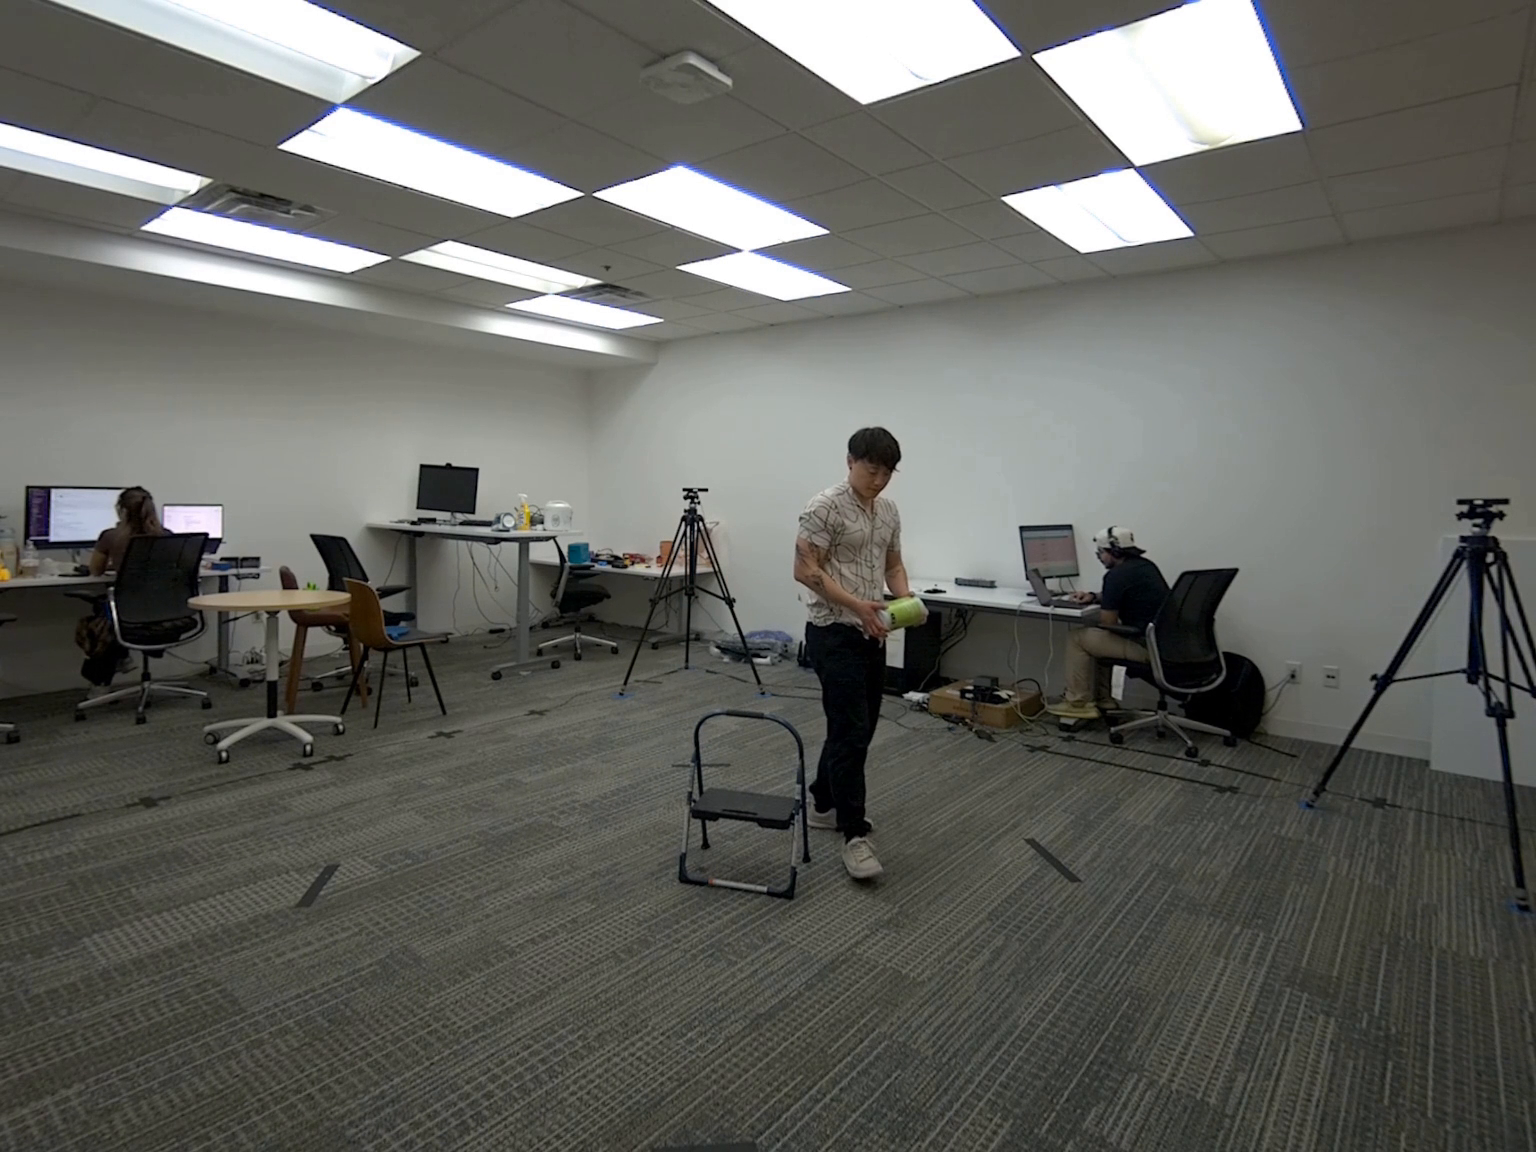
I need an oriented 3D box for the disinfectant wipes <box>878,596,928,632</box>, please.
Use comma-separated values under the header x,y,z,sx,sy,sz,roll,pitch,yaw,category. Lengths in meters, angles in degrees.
x,y,z,sx,sy,sz,roll,pitch,yaw,category
0.475,0.145,3.237,0.212,0.117,0.121,-11,10,-33,disinfectant wipes
